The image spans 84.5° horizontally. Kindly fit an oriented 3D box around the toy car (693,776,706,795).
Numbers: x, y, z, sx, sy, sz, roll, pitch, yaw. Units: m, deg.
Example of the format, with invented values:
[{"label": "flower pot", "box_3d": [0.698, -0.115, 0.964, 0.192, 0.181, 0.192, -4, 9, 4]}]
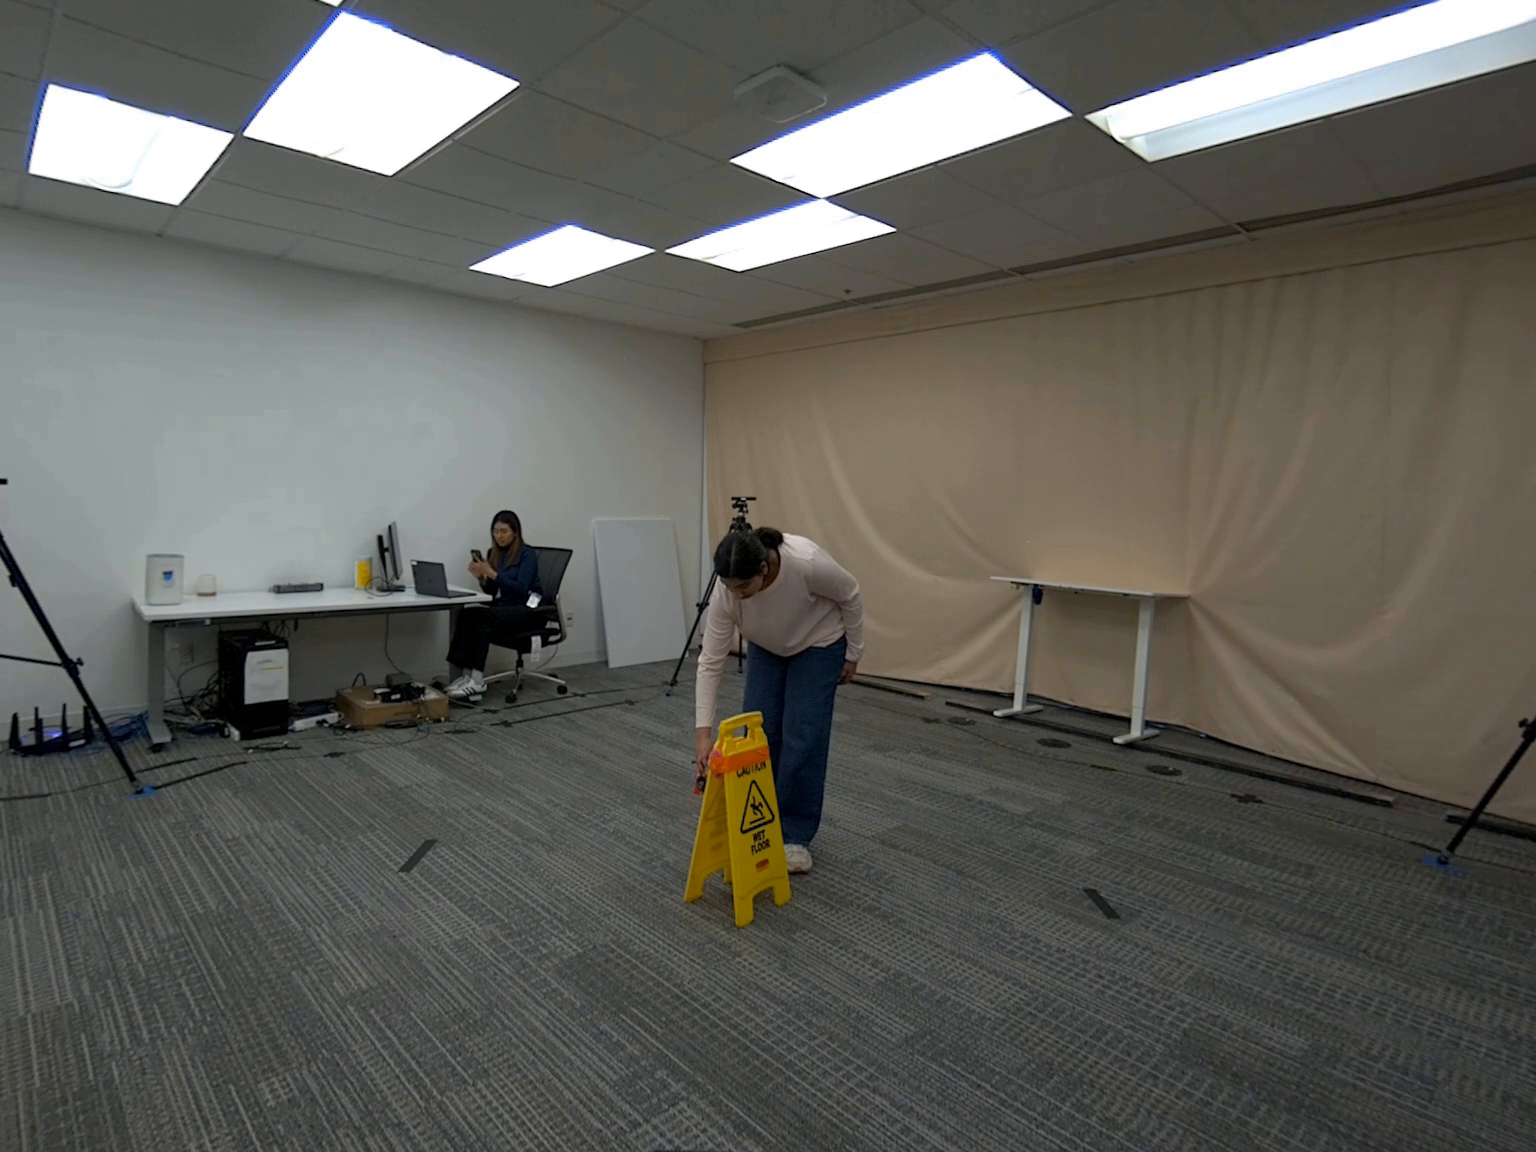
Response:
[{"label": "toy car", "box_3d": [-0.174, 0.687, 2.969, 0.127, 0.253, 0.085, 0, 42, -51]}]
